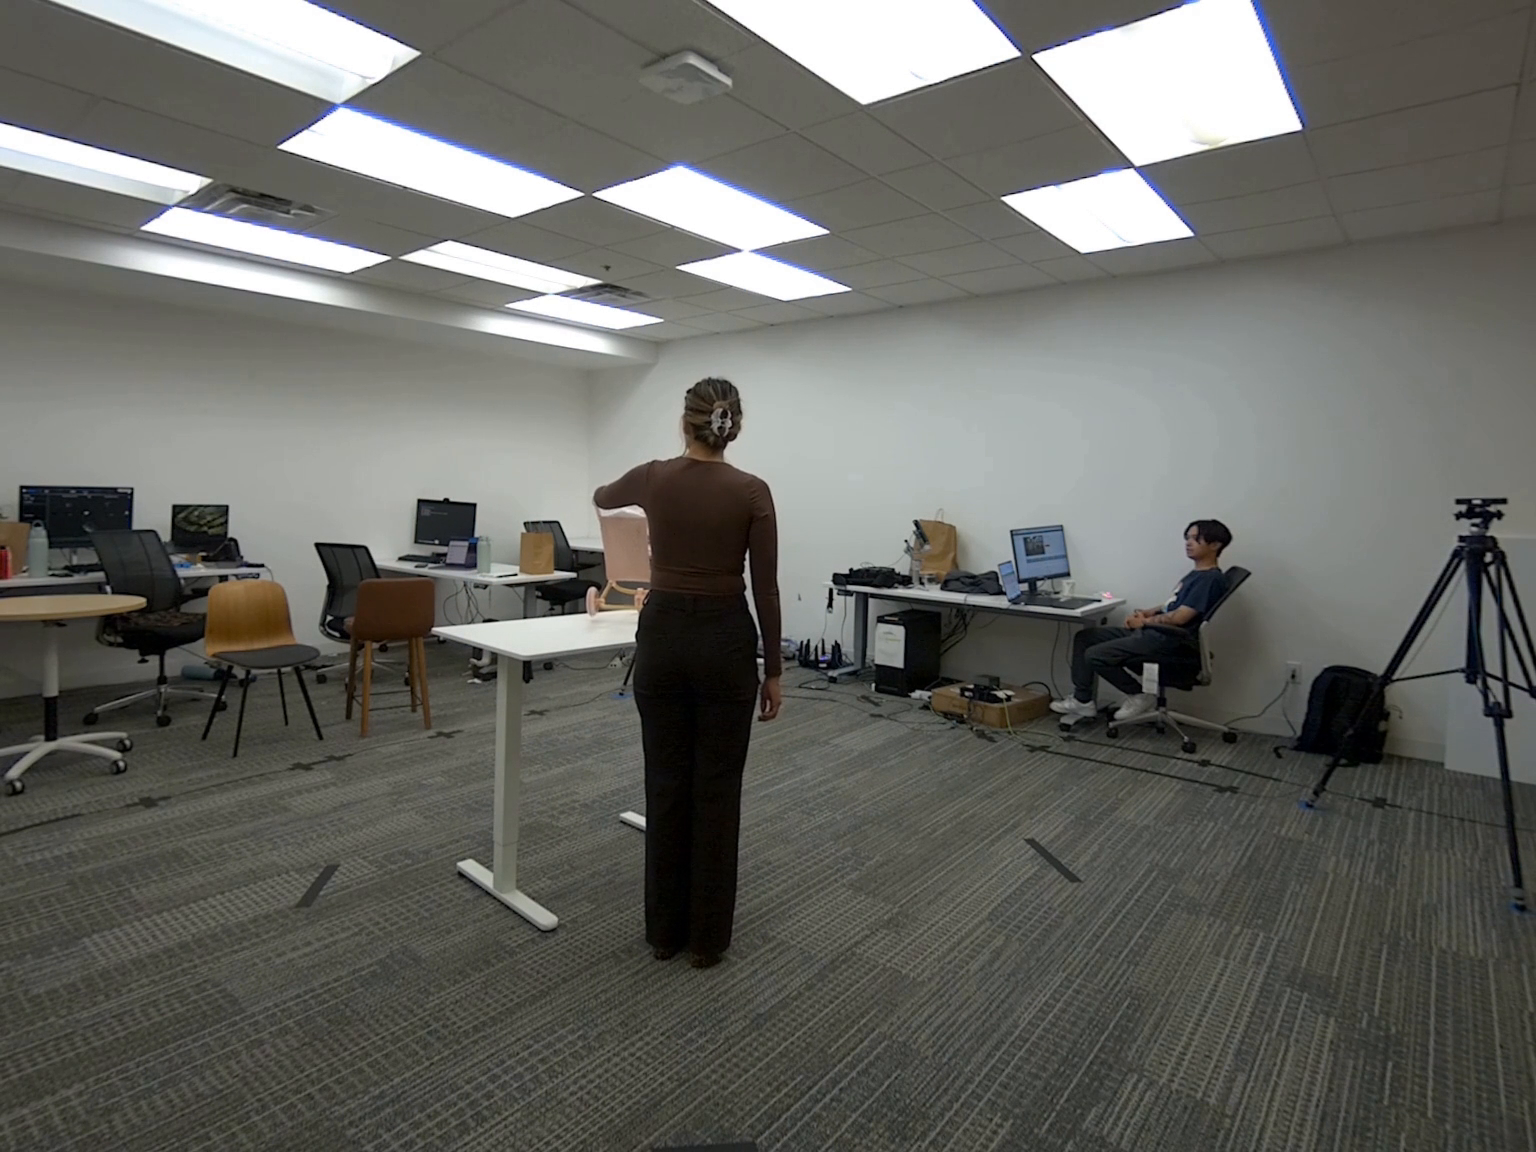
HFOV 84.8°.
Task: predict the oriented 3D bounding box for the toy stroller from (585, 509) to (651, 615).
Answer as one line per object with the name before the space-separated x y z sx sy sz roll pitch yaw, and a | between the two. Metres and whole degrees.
toy stroller | -0.543 -0.076 3.297 0.285 0.529 0.340 2 12 11
